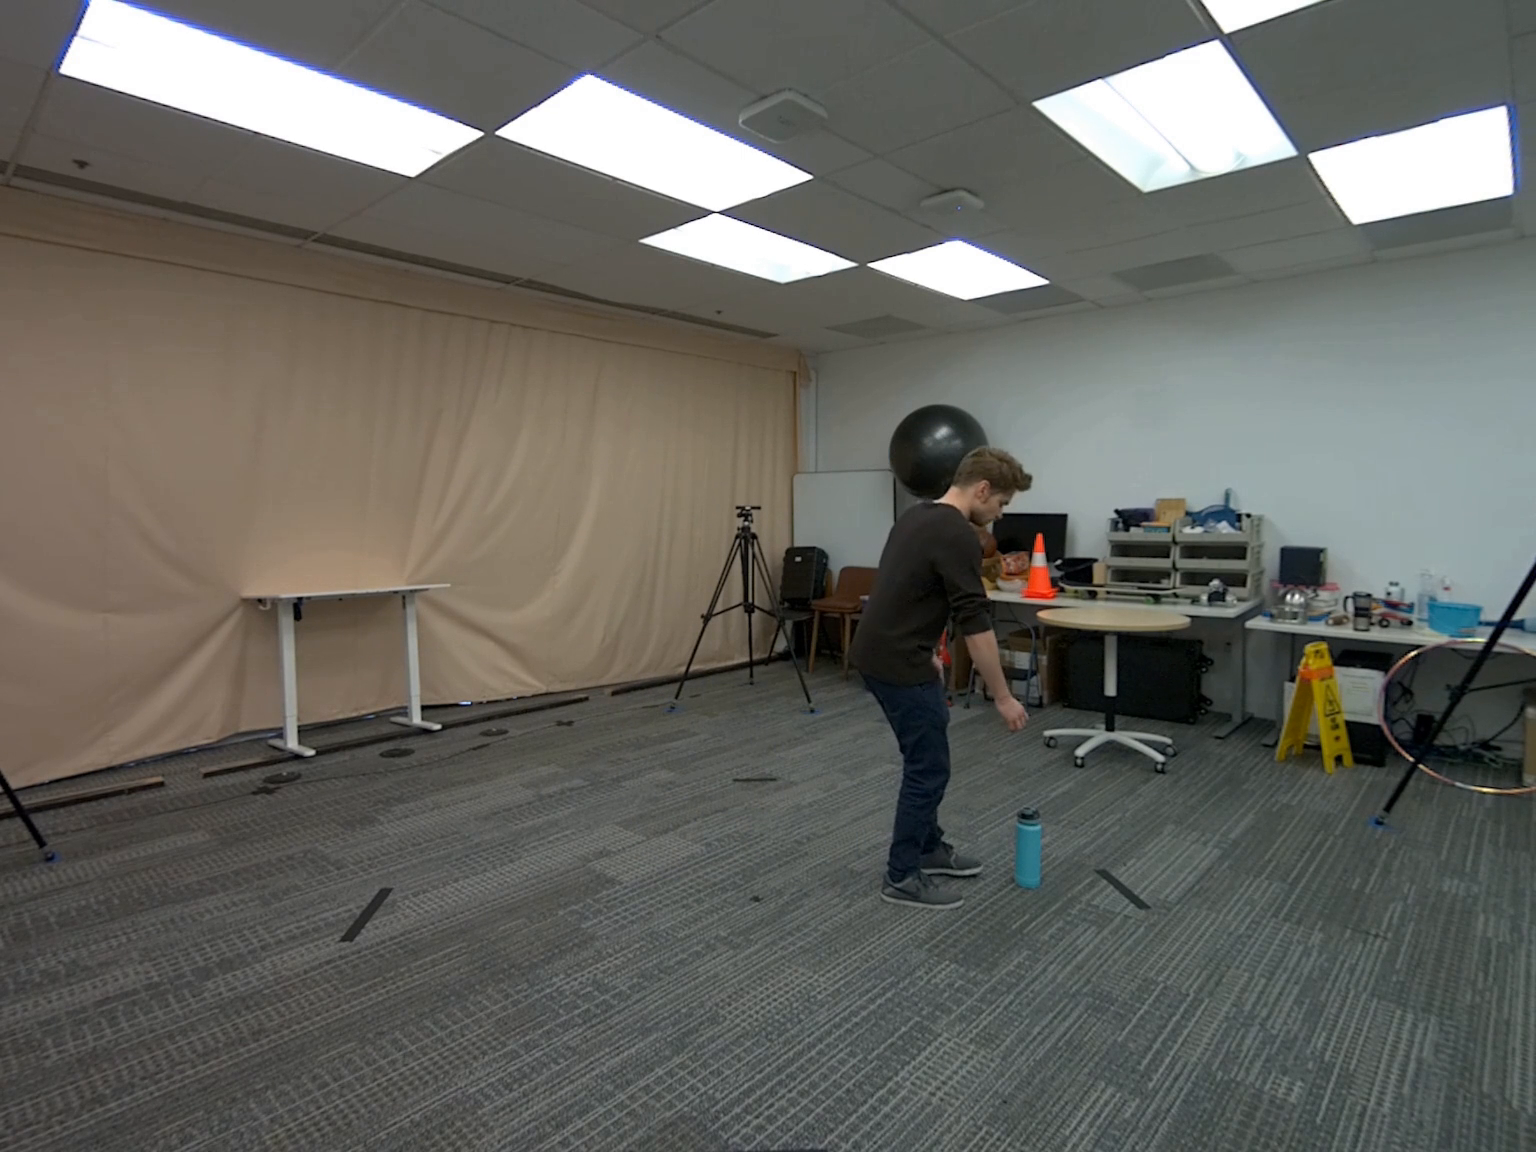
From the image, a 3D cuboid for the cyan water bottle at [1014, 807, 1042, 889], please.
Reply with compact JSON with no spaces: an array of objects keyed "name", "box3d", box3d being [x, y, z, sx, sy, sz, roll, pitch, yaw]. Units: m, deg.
[{"name":"cyan water bottle","box3d":[0.962,0.995,3.097,0.092,0.283,0.092,2,3,-2]}]
